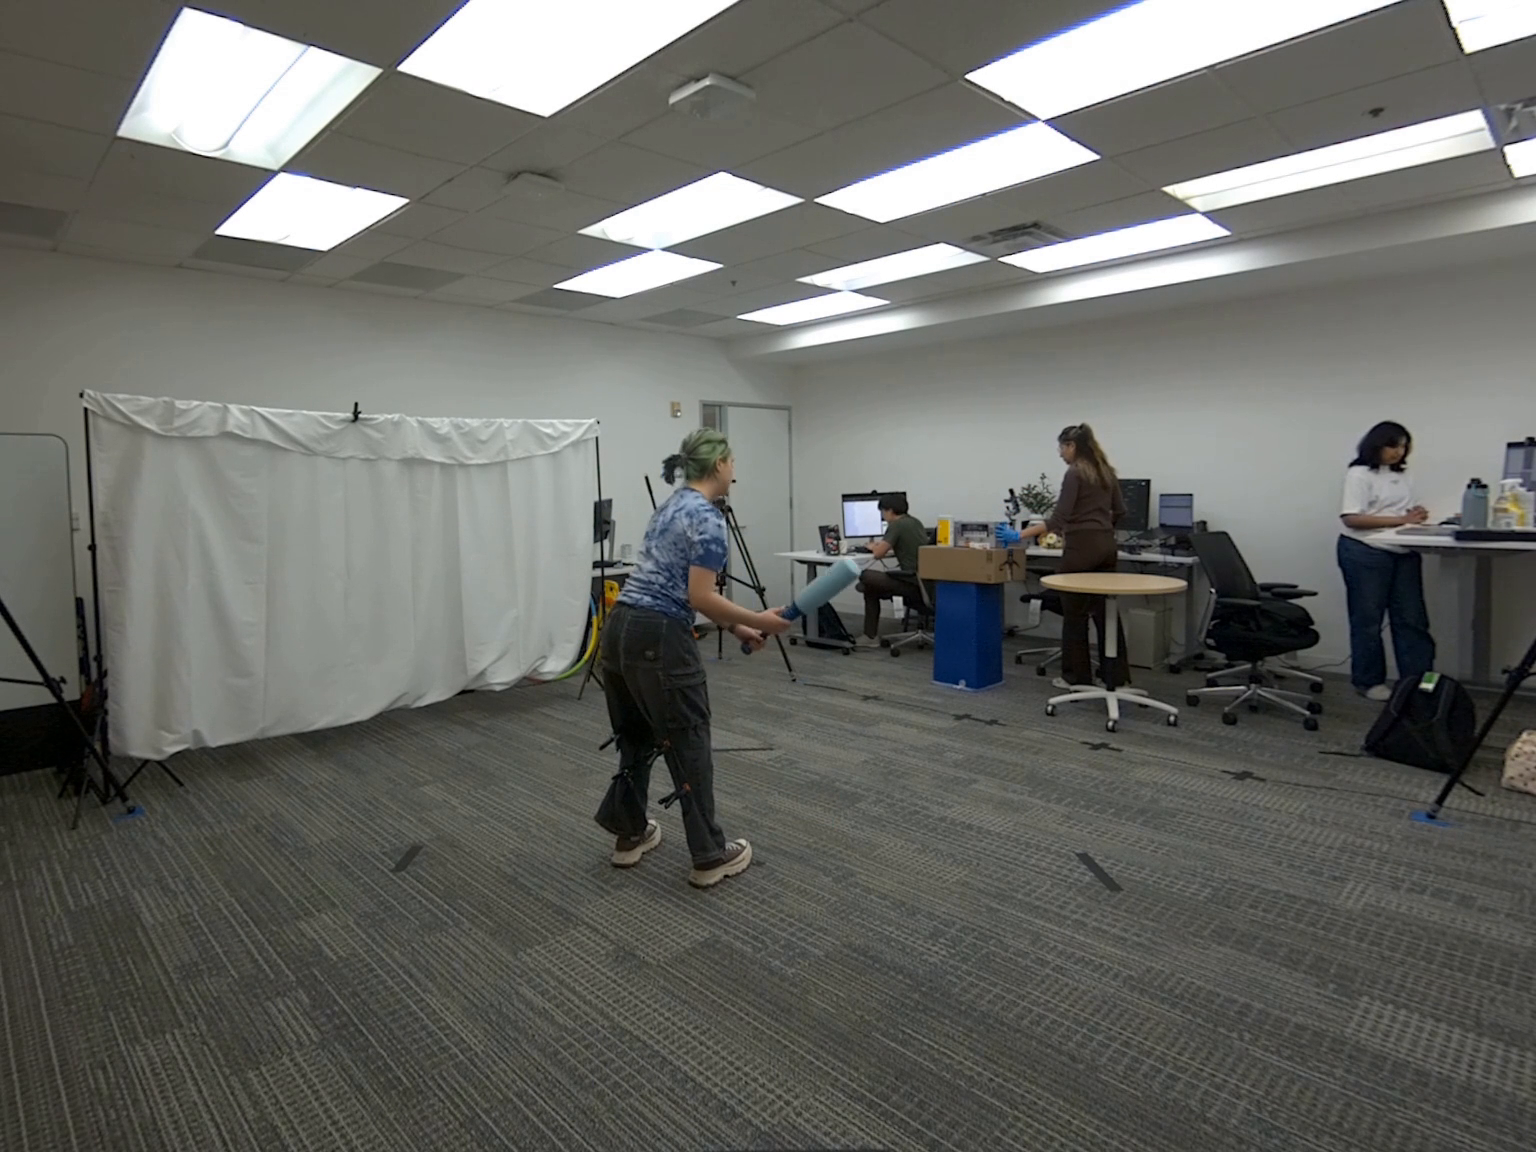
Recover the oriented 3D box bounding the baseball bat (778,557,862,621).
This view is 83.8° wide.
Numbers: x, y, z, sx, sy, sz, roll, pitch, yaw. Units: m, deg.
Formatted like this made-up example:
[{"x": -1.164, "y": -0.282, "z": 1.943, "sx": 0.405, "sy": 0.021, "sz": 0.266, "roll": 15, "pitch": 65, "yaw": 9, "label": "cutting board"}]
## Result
[{"x": 0.099, "y": 0.124, "z": 2.995, "sx": 0.545, "sy": 0.091, "sz": 0.087, "roll": -40, "pitch": -15, "yaw": 26, "label": "baseball bat"}]
